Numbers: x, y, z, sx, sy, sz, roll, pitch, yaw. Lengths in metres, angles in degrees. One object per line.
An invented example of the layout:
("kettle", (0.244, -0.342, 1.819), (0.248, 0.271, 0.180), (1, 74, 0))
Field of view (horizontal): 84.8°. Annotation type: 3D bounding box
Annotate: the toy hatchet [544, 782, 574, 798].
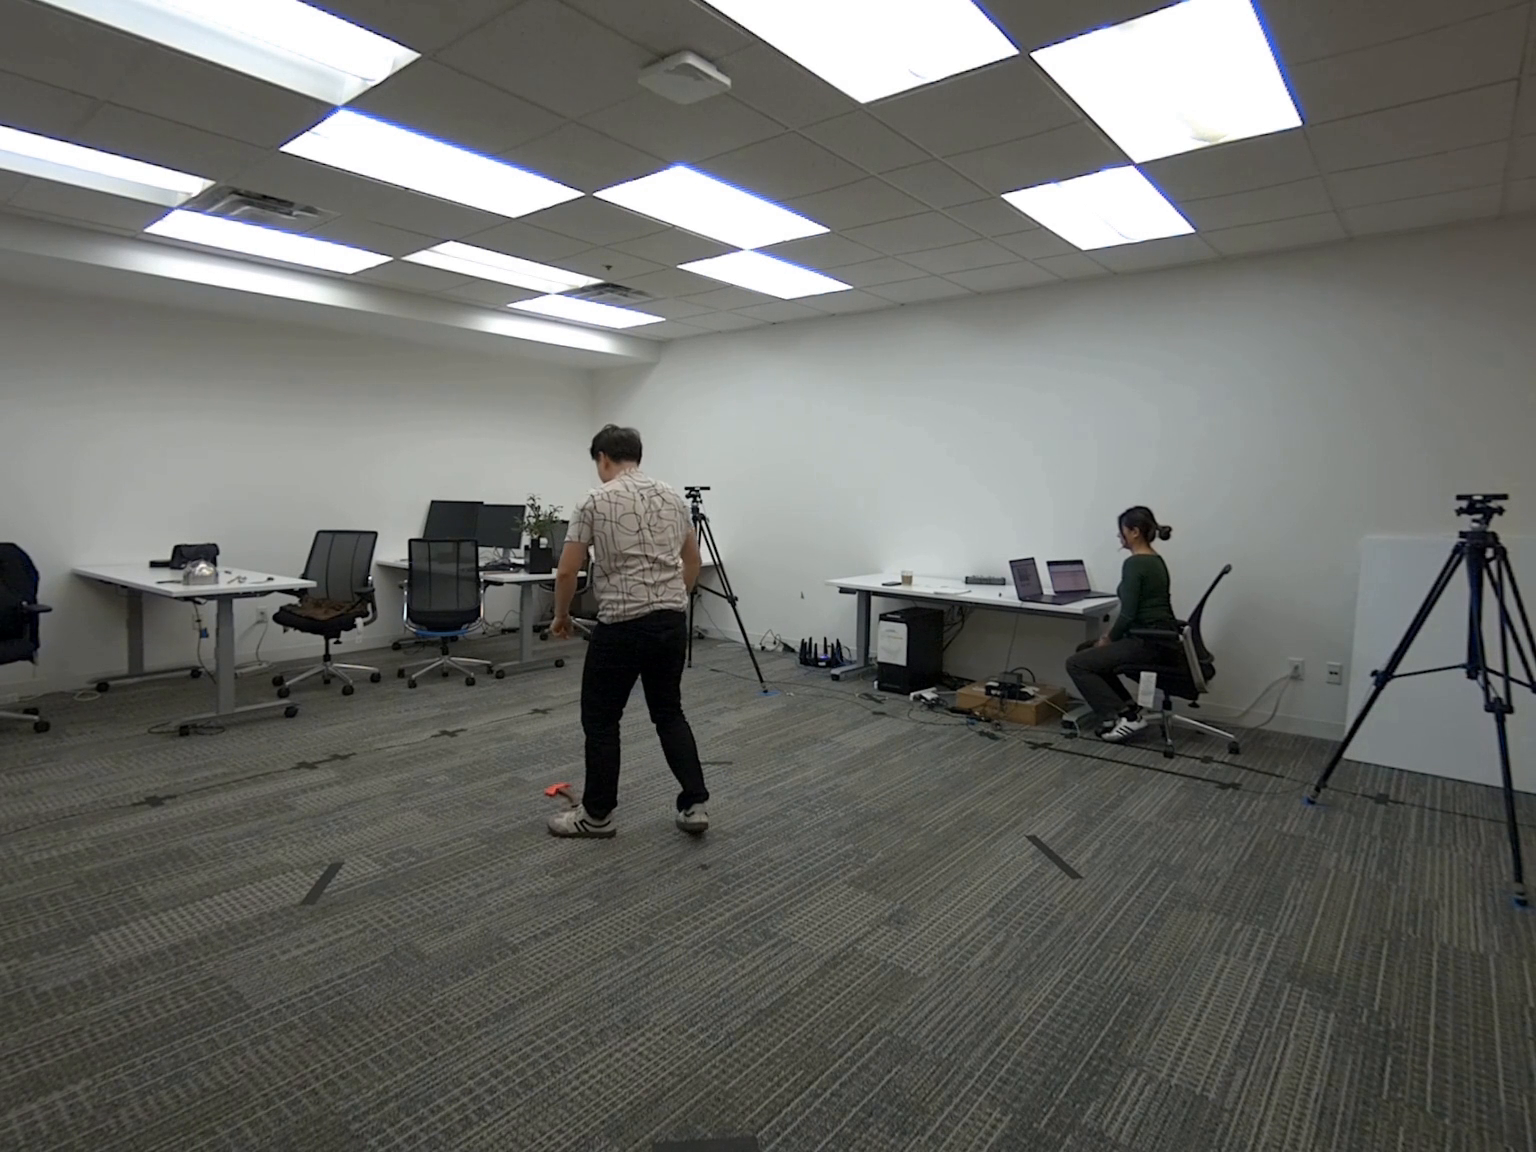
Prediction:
("toy hatchet", (-0.937, 0.981, 3.780), (0.128, 0.029, 0.277), (-1, 8, -21))
